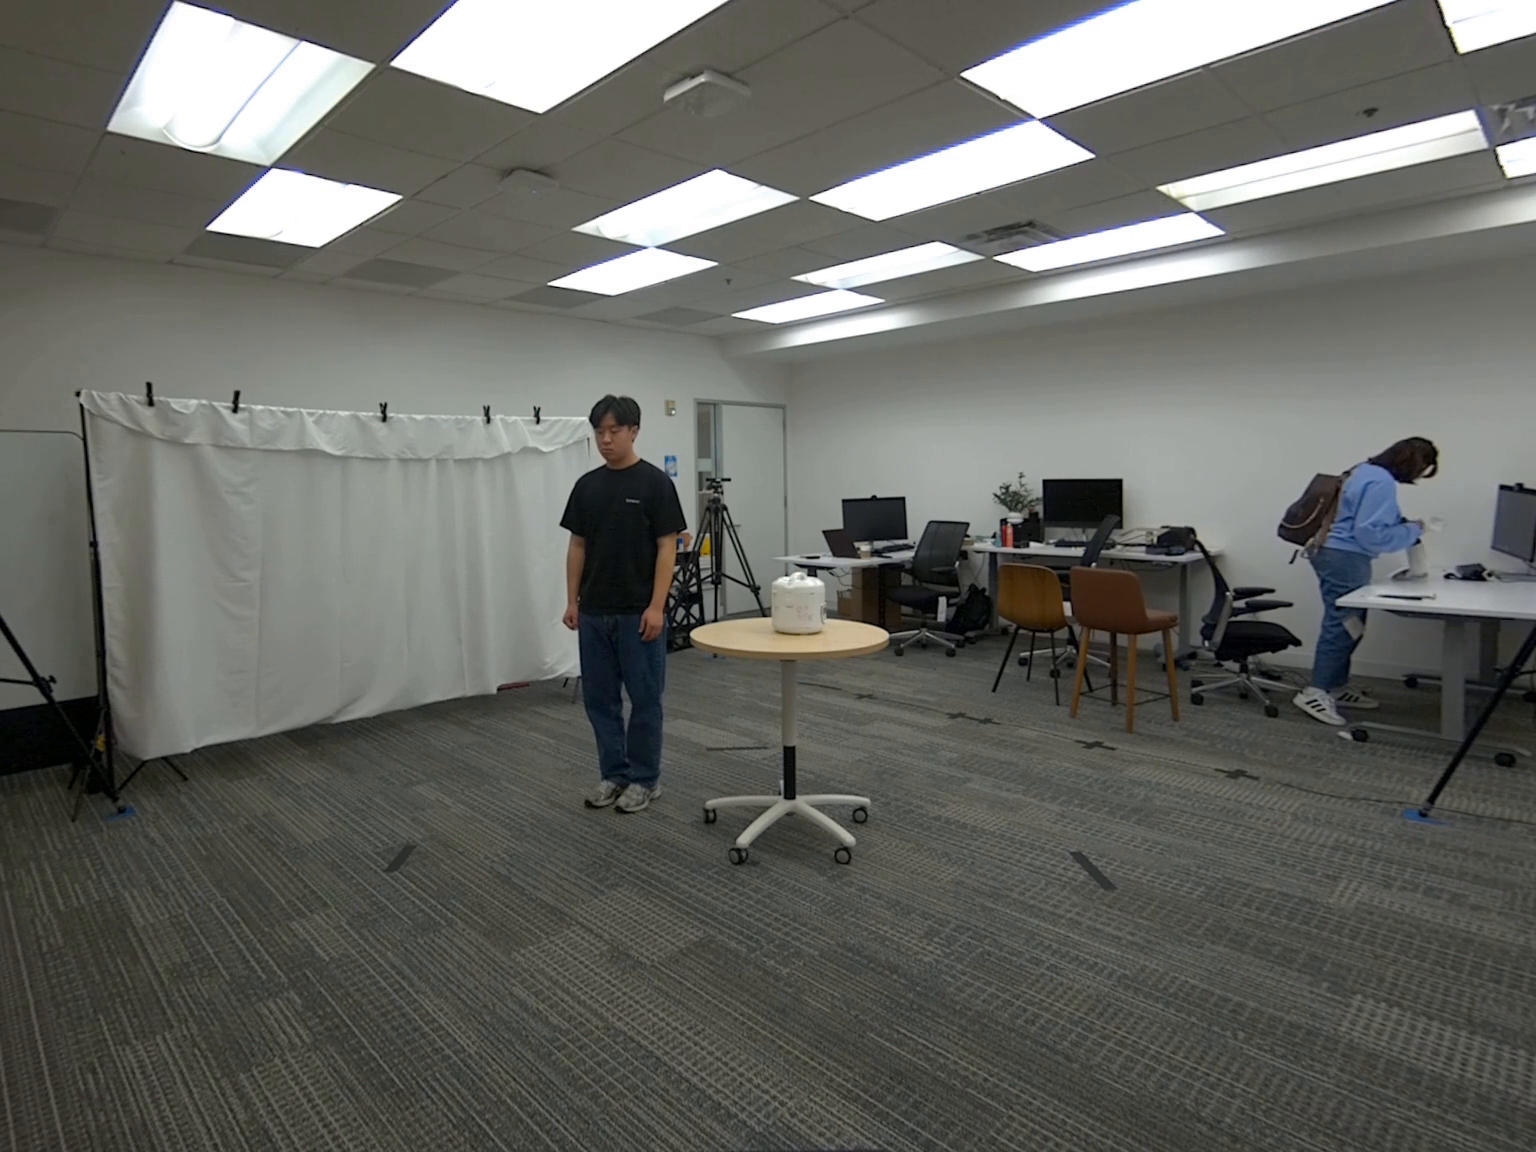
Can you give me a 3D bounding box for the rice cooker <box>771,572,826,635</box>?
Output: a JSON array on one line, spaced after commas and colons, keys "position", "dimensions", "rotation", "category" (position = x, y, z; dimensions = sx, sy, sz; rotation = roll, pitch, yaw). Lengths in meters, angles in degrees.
[{"position": [0.123, 0.099, 3.347], "dimensions": [0.222, 0.232, 0.216], "rotation": [1, 5, 24], "category": "rice cooker"}]
